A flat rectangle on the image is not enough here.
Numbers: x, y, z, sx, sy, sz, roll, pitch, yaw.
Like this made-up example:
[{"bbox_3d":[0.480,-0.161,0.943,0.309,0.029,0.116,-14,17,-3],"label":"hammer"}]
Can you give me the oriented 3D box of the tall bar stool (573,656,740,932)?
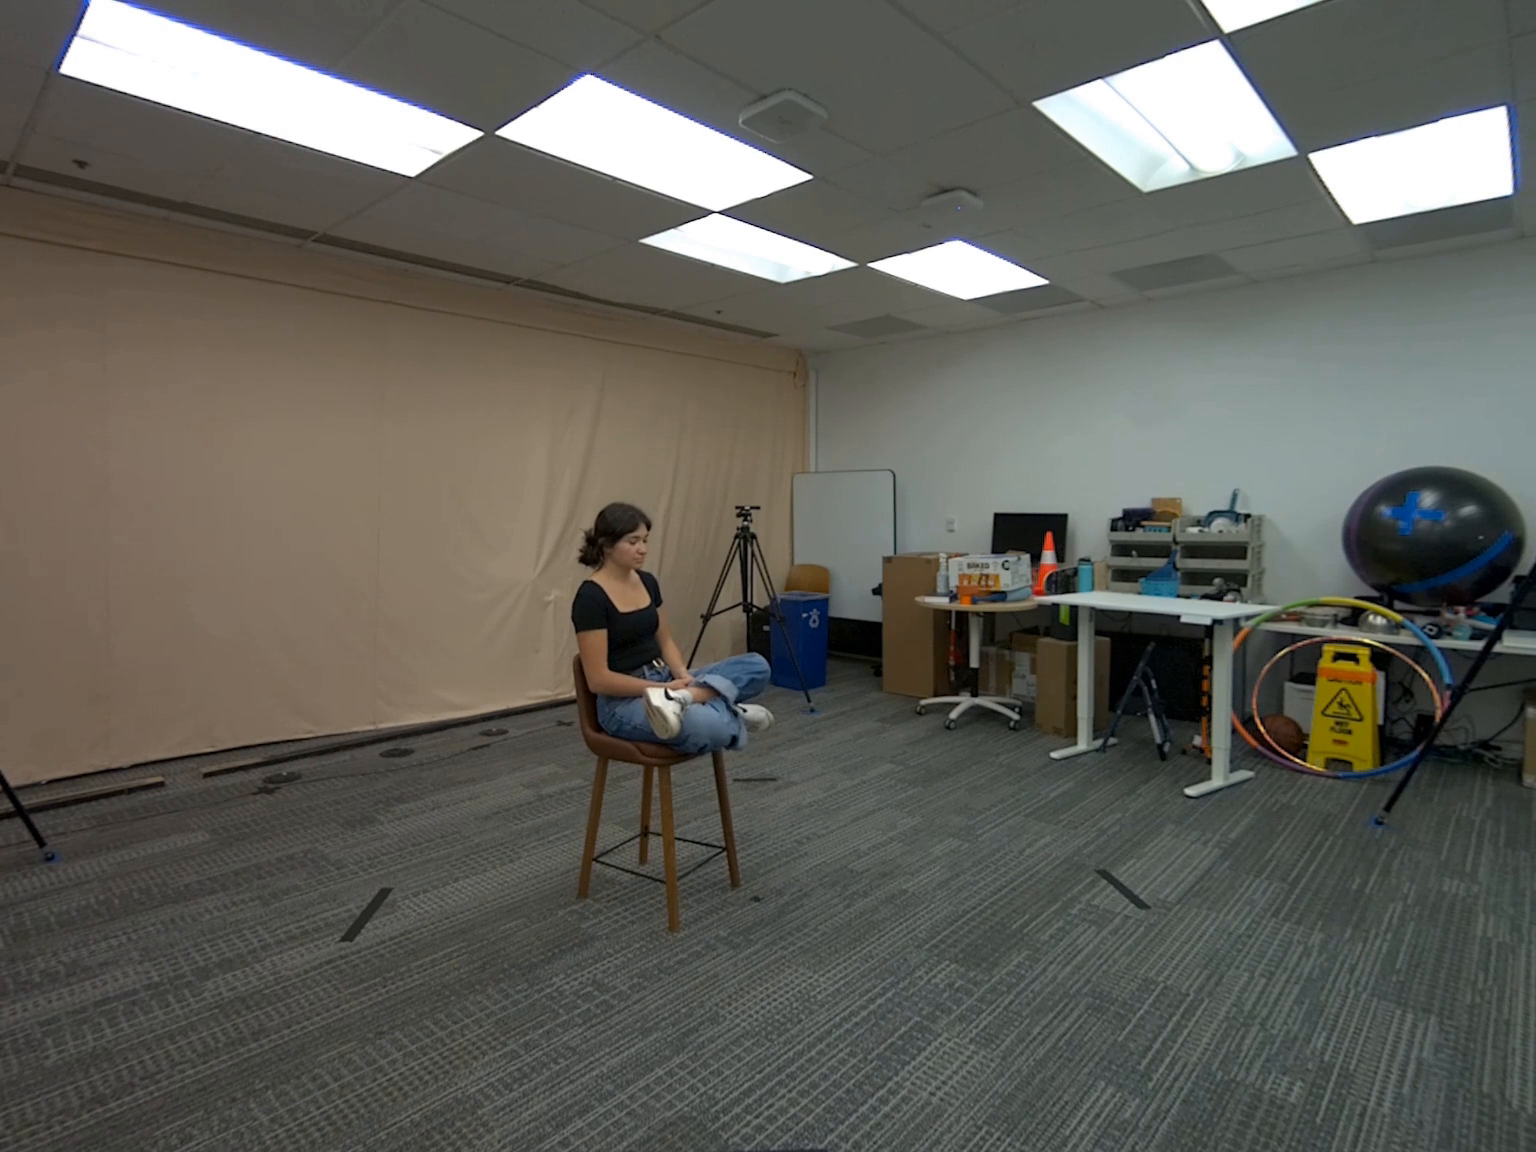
[{"bbox_3d":[-0.406,0.710,3.025,0.481,0.889,0.444,-1,2,33],"label":"tall bar stool"}]
